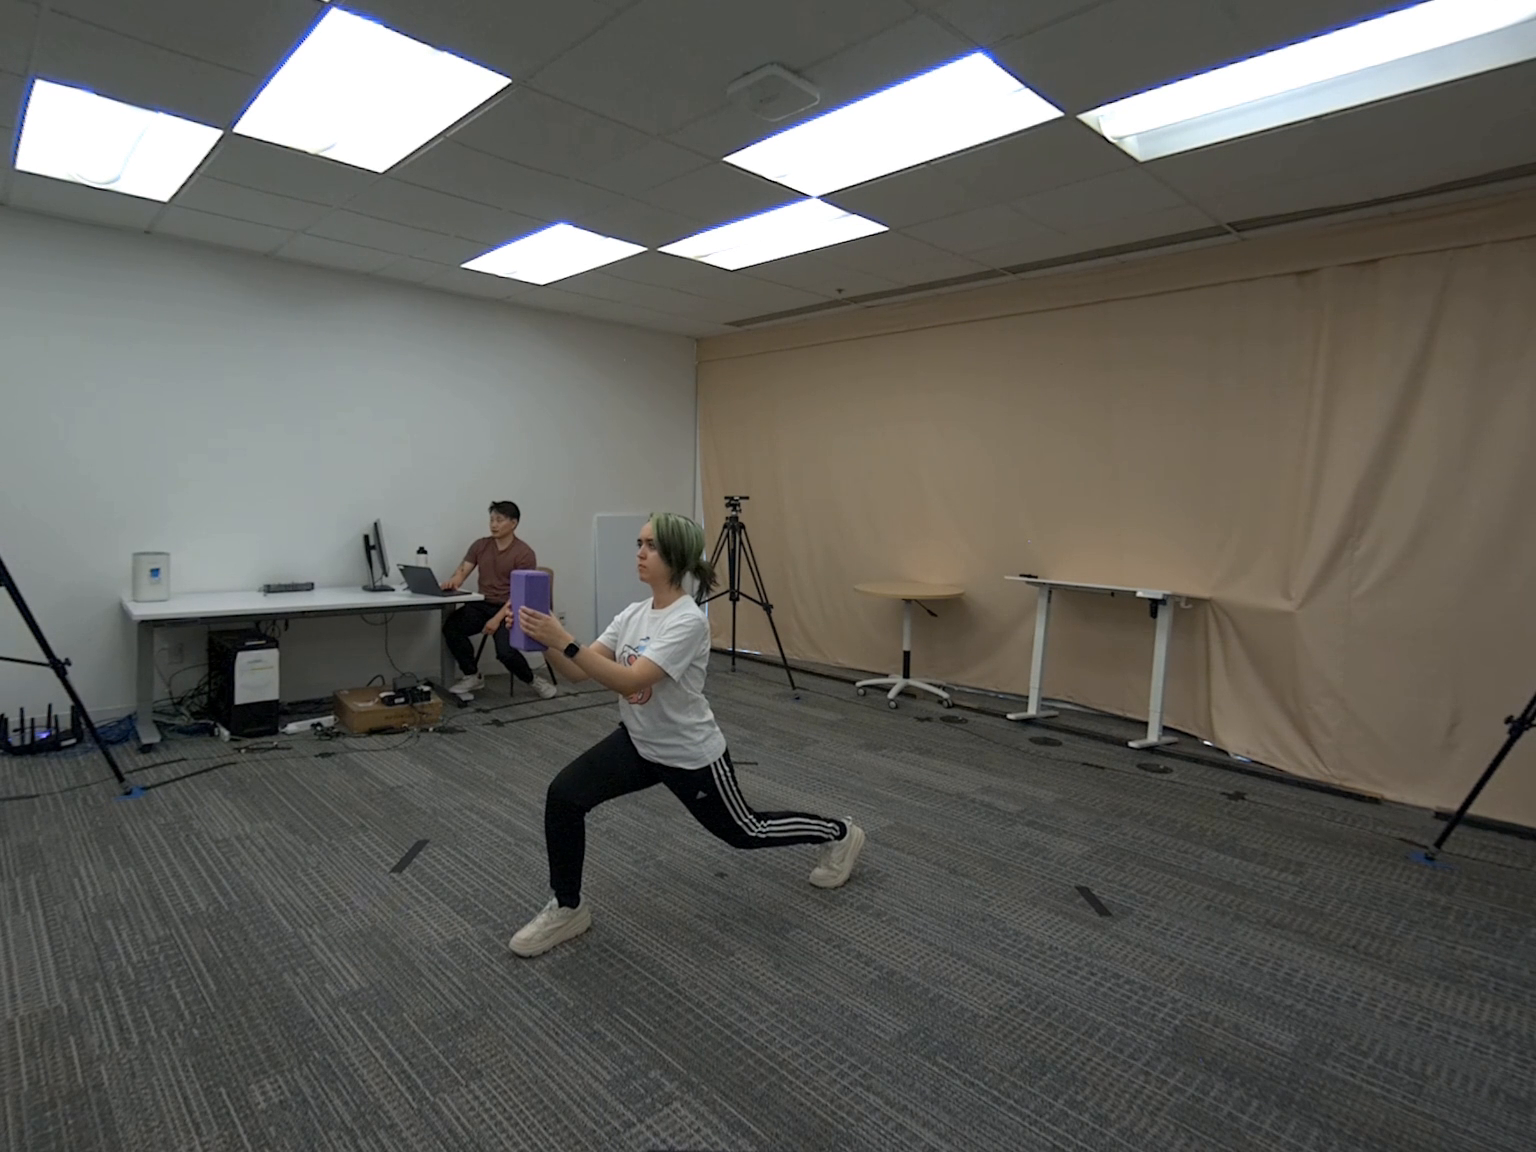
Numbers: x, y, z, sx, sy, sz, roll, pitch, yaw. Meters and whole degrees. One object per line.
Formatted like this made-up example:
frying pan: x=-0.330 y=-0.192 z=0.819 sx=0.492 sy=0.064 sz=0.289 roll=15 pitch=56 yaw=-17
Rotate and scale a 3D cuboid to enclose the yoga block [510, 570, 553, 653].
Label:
yoga block: x=-0.707 y=0.102 z=2.480 sx=0.075 sy=0.229 sz=0.152 roll=-1 pitch=1 yaw=-33
